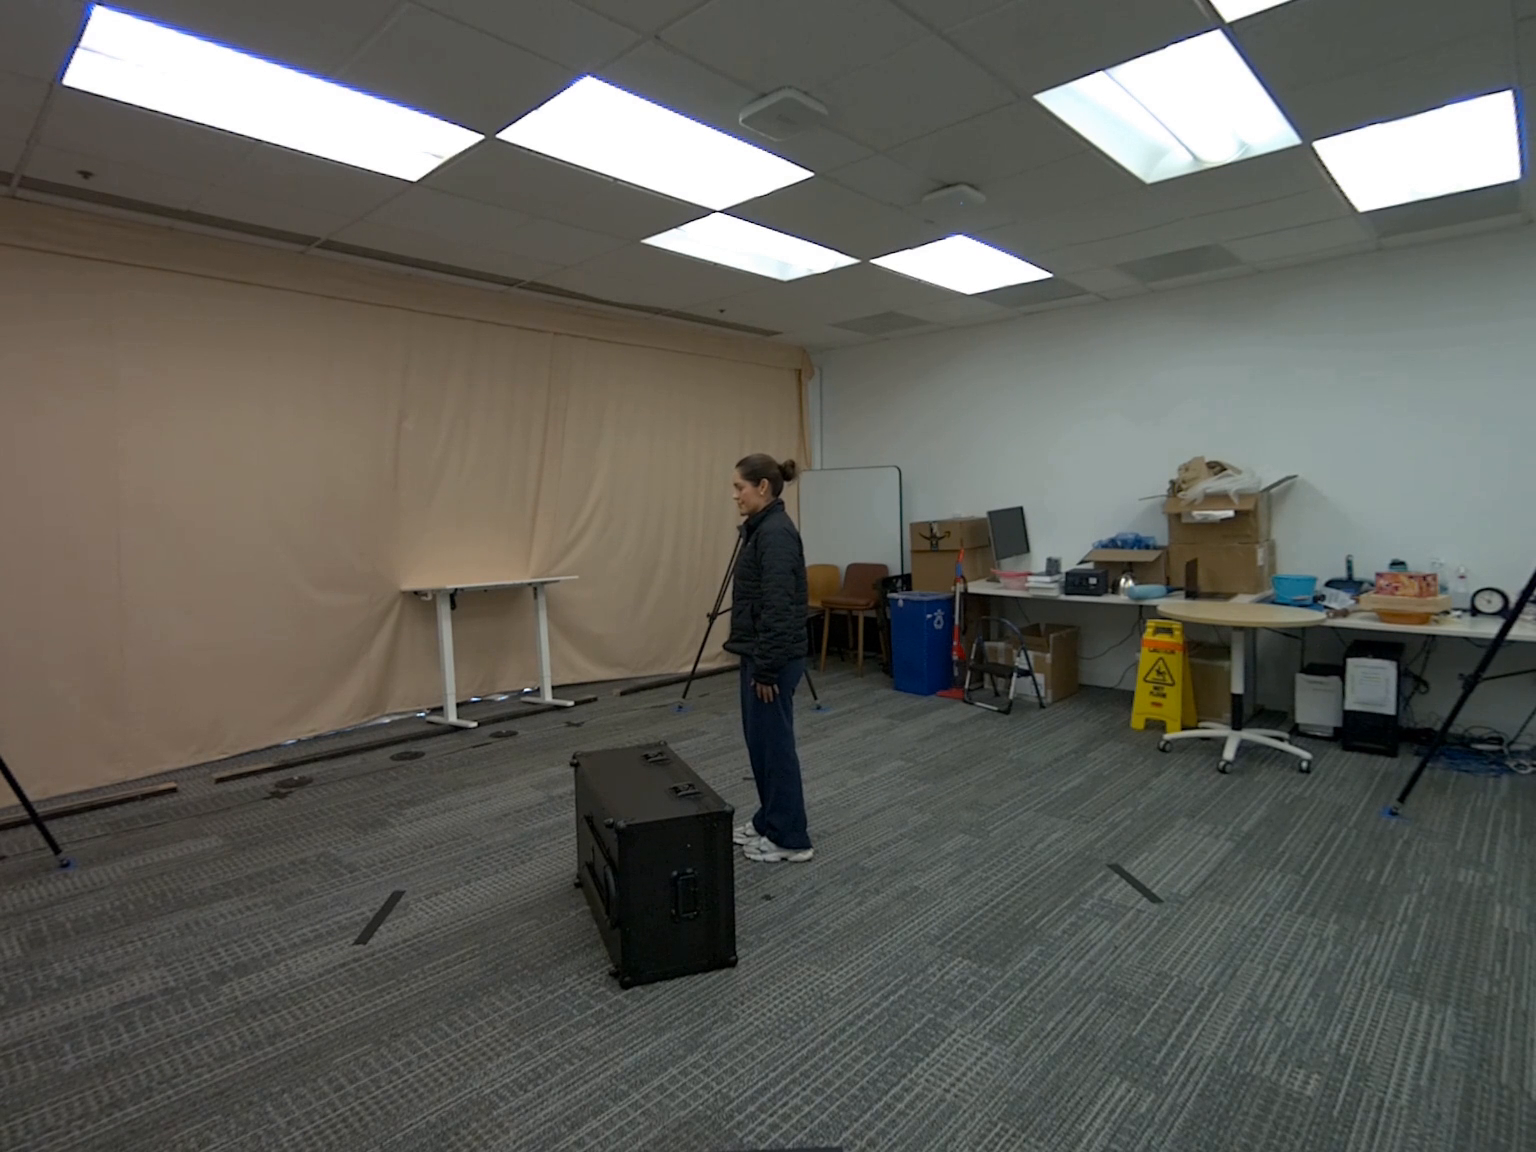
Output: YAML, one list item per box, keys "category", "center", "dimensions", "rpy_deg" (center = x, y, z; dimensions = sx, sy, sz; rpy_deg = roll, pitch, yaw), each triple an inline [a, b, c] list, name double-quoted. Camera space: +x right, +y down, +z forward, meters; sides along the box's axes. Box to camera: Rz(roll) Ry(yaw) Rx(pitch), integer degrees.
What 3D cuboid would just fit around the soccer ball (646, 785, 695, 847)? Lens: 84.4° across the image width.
- category: "soccer ball"
  center: [-0.412, 1.011, 3.584]
  dimensions: [0.187, 0.187, 0.188]
  rpy_deg: [-1, 4, -2]
